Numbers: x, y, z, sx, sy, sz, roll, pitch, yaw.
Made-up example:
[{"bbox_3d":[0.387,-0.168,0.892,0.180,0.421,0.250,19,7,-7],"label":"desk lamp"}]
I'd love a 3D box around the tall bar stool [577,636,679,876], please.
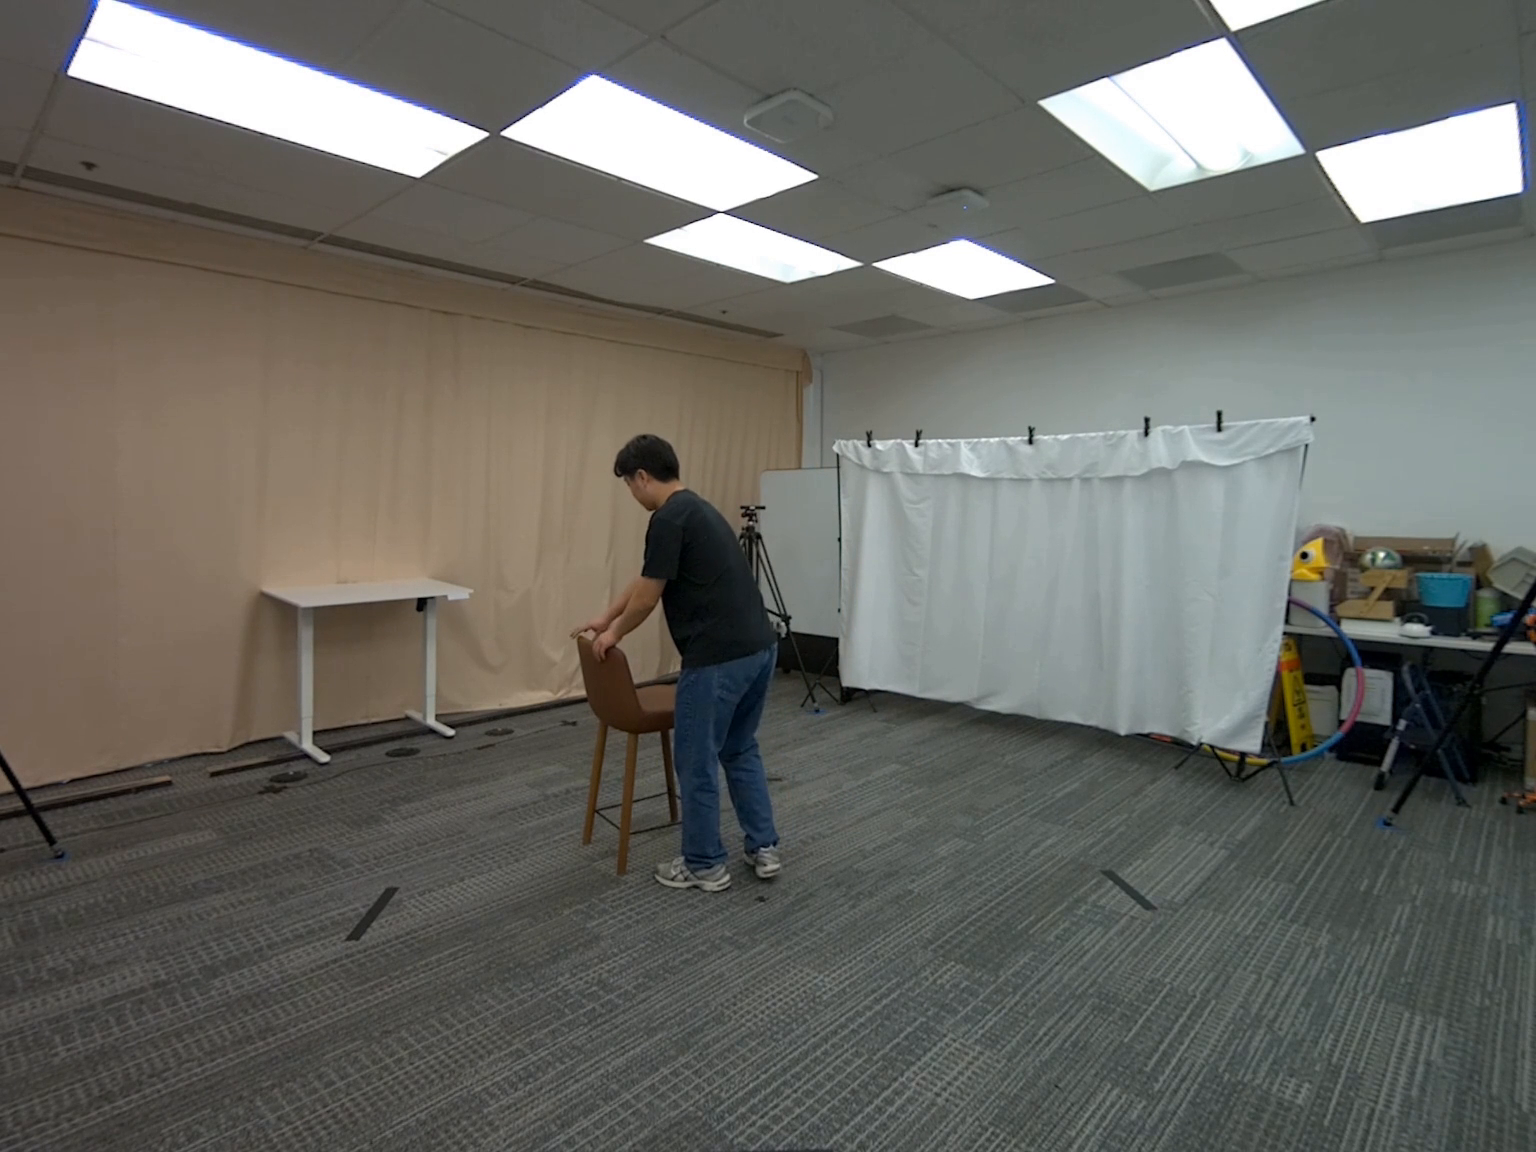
[{"bbox_3d":[-0.492,0.674,3.436,0.455,0.887,0.470,-5,5,-32],"label":"tall bar stool"}]
